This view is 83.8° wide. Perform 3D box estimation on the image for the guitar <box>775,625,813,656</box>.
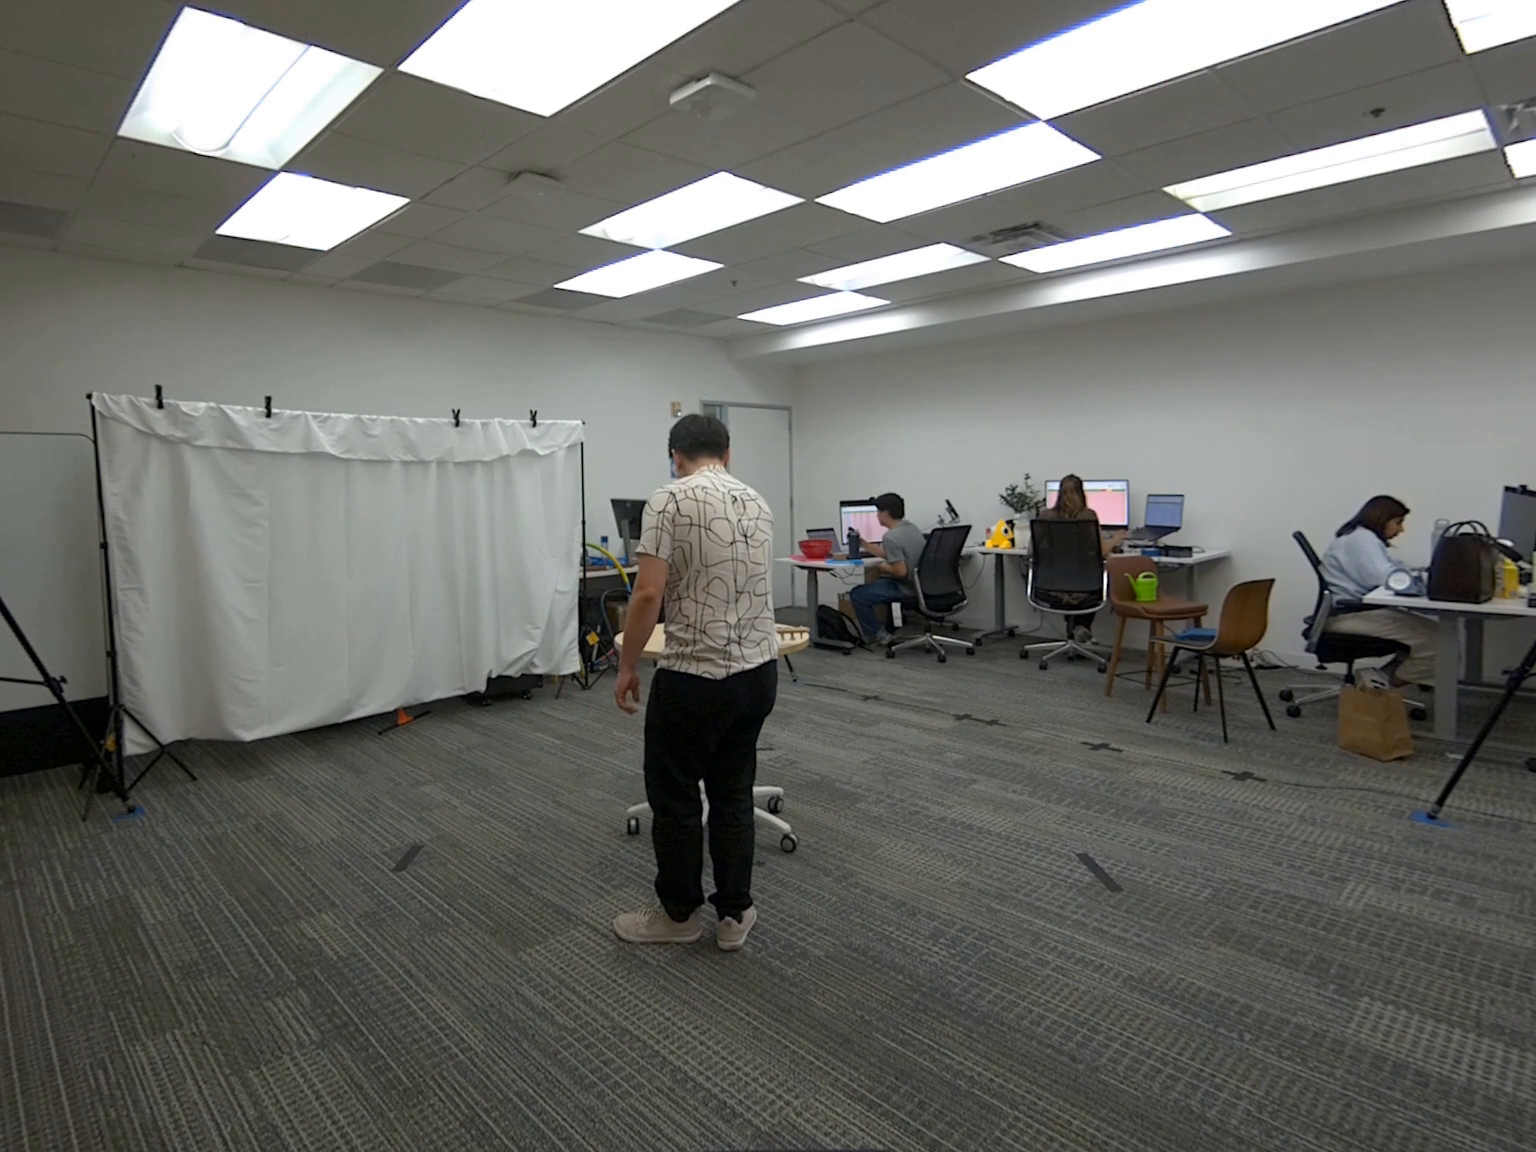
[{"bbox_3d":[-0.098,0.232,3.091,0.499,0.070,0.193,-1,6,3],"label":"guitar"}]
